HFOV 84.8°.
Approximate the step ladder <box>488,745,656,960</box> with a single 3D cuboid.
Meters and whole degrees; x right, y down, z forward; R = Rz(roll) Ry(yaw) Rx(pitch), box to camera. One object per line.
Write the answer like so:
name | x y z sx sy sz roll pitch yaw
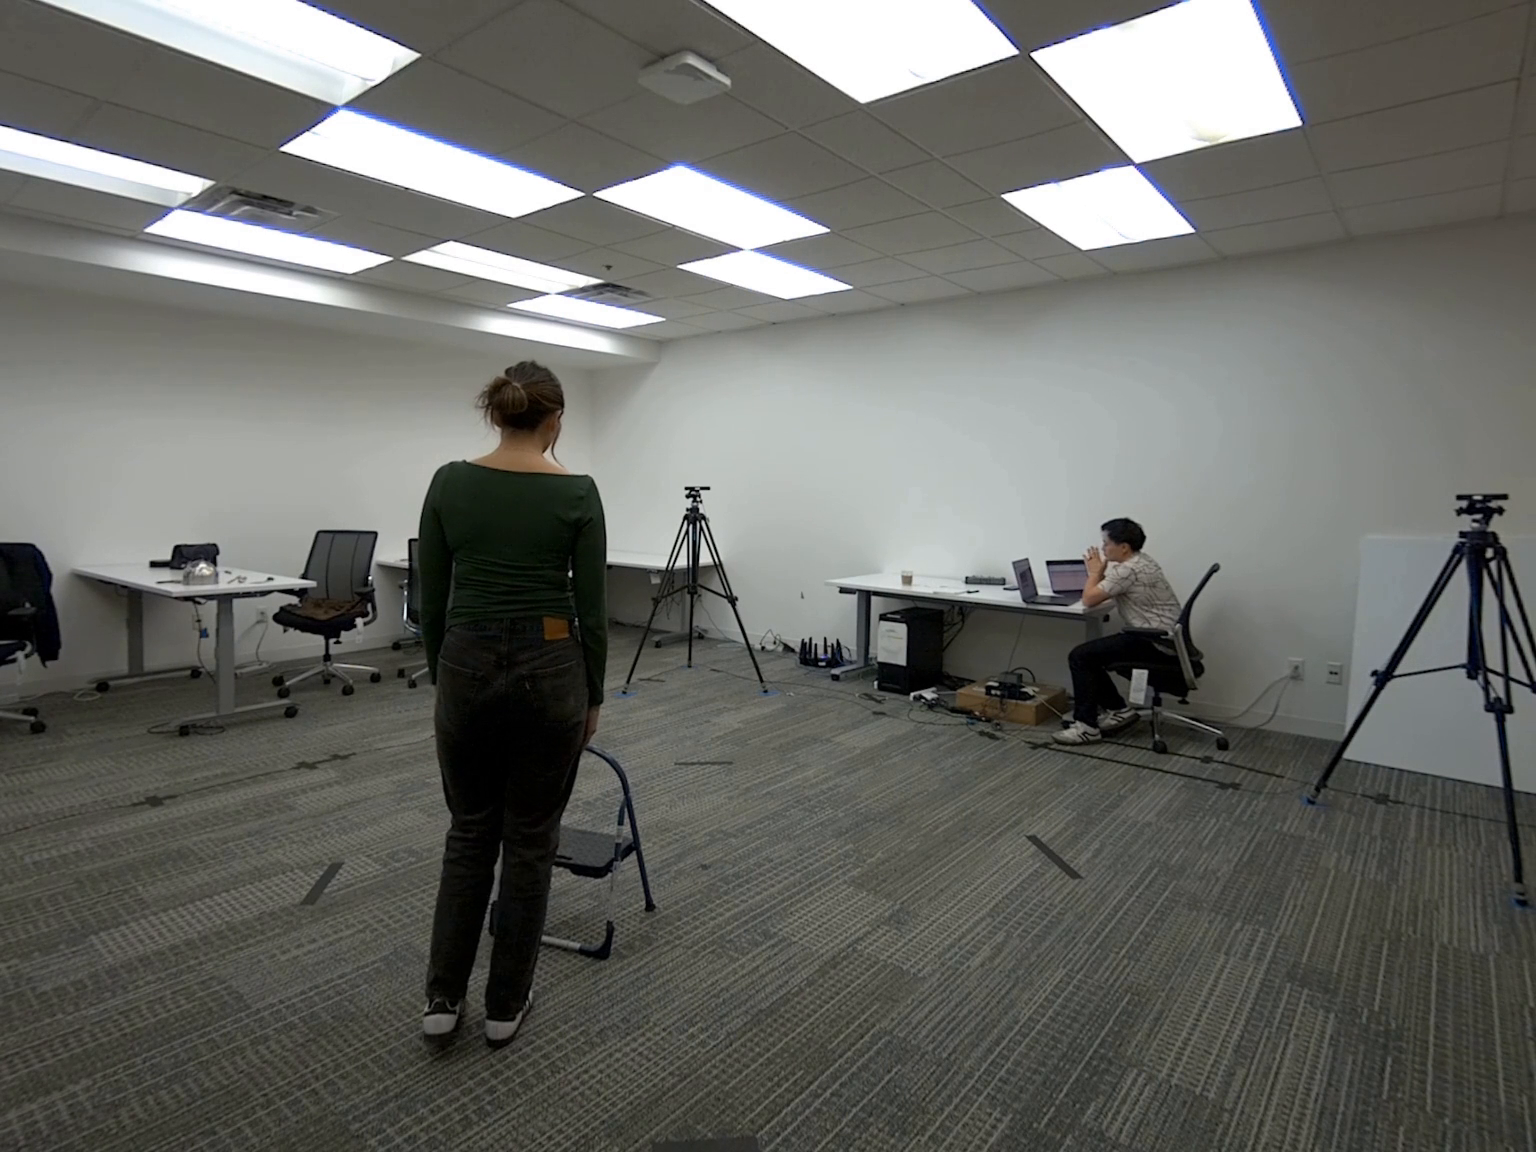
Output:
step ladder | -0.626 0.797 2.698 0.439 0.604 0.343 2 4 18
